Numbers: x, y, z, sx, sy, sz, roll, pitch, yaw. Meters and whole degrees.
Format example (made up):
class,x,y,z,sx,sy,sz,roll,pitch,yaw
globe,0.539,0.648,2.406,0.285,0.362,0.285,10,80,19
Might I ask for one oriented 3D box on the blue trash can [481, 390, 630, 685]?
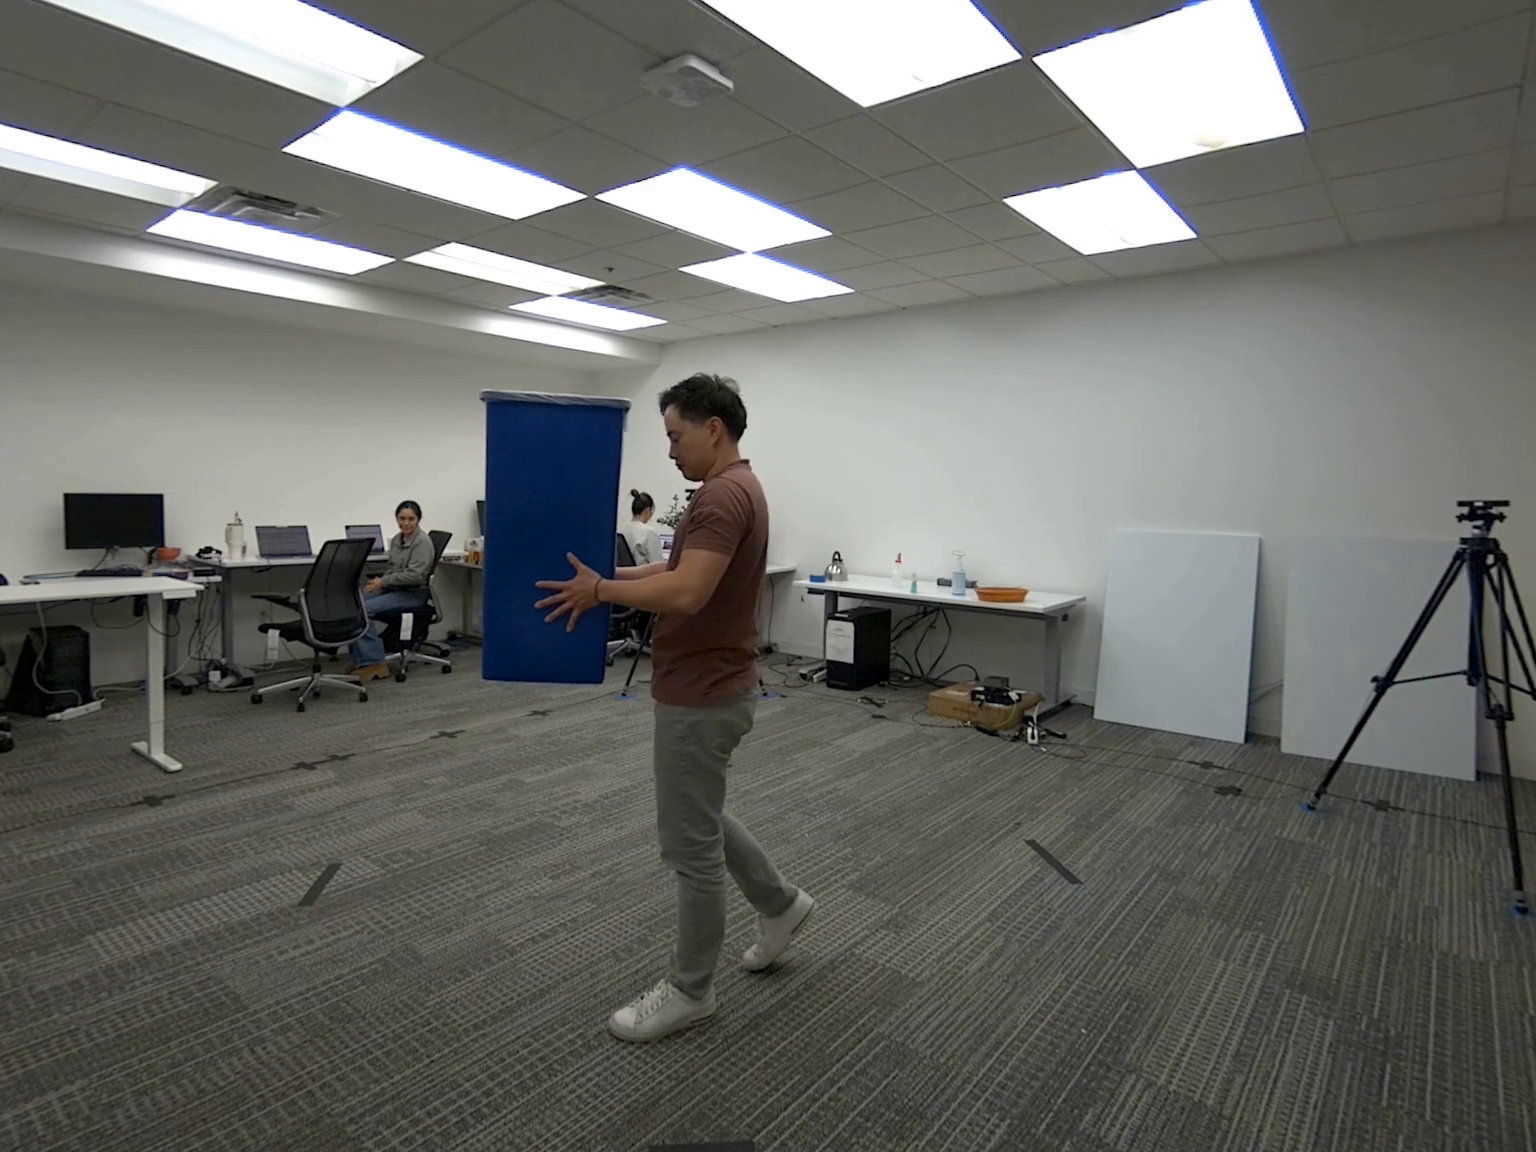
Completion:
class,x,y,z,sx,sy,sz,roll,pitch,yaw
blue trash can,-0.577,-0.107,2.242,0.371,0.712,0.382,3,2,-9
